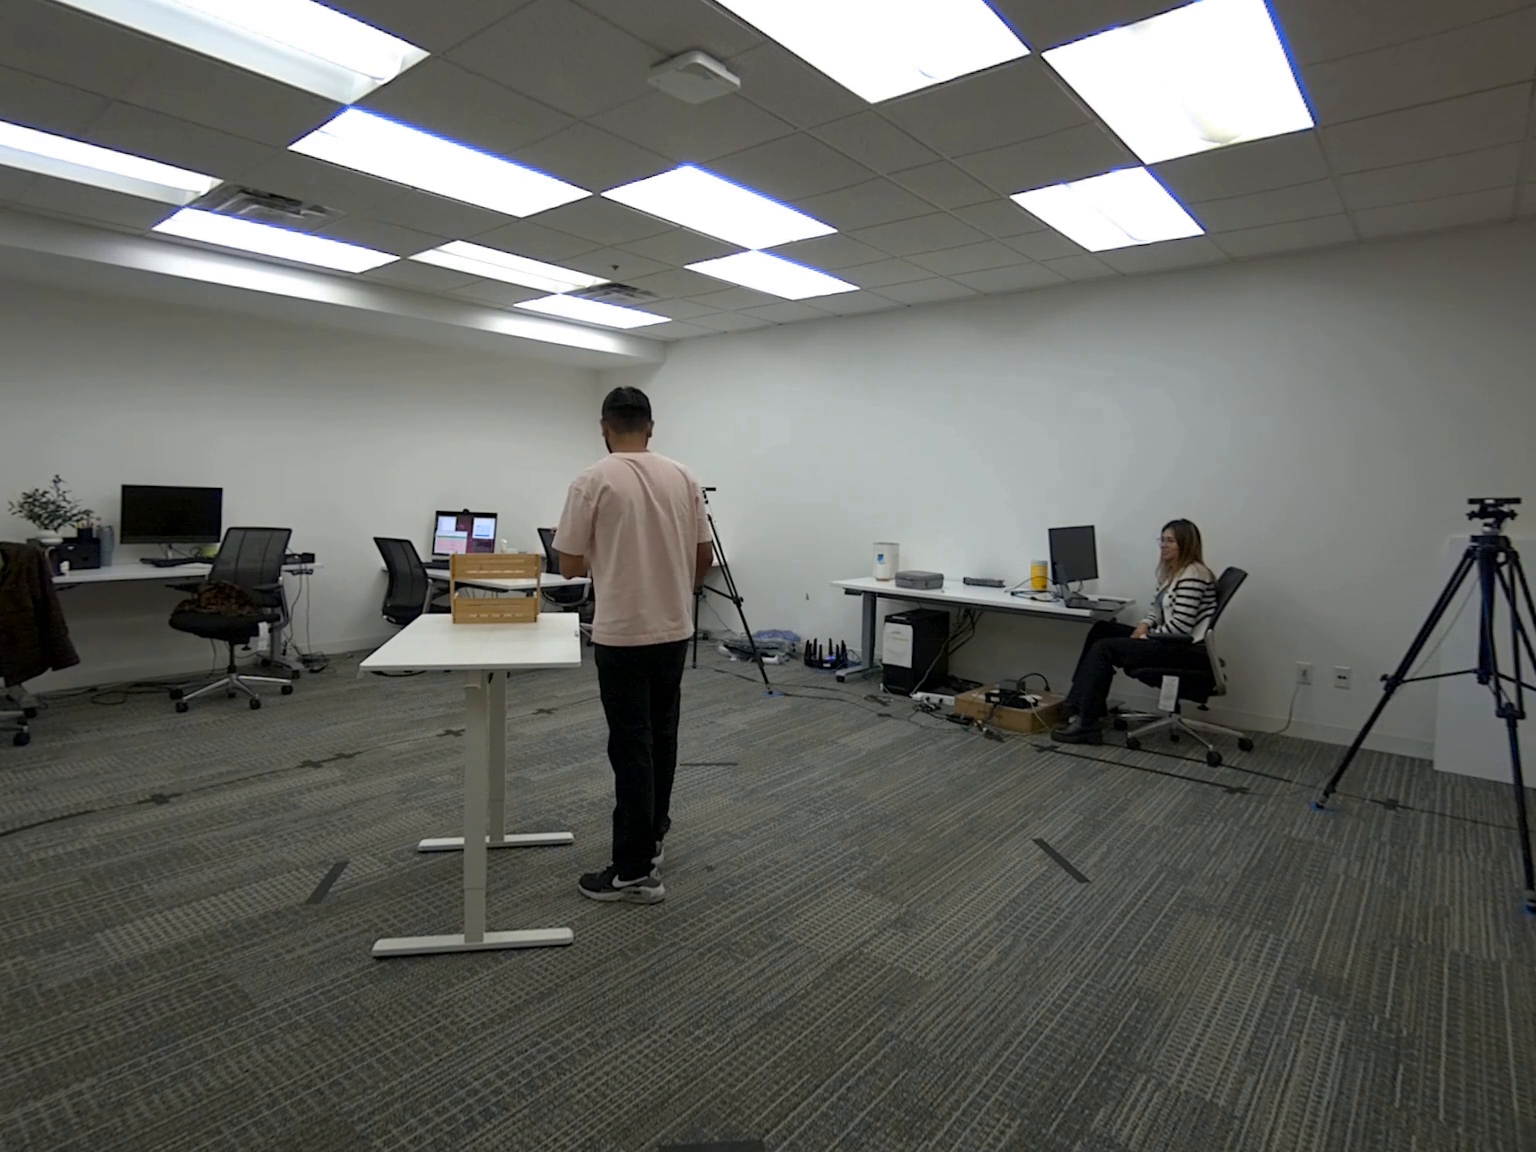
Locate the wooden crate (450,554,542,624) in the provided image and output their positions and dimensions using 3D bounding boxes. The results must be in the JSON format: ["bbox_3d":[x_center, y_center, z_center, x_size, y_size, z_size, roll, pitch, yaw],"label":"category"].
[{"bbox_3d":[-1.050,0.031,3.228,0.321,0.272,0.307,0,4,-12],"label":"wooden crate"}]
